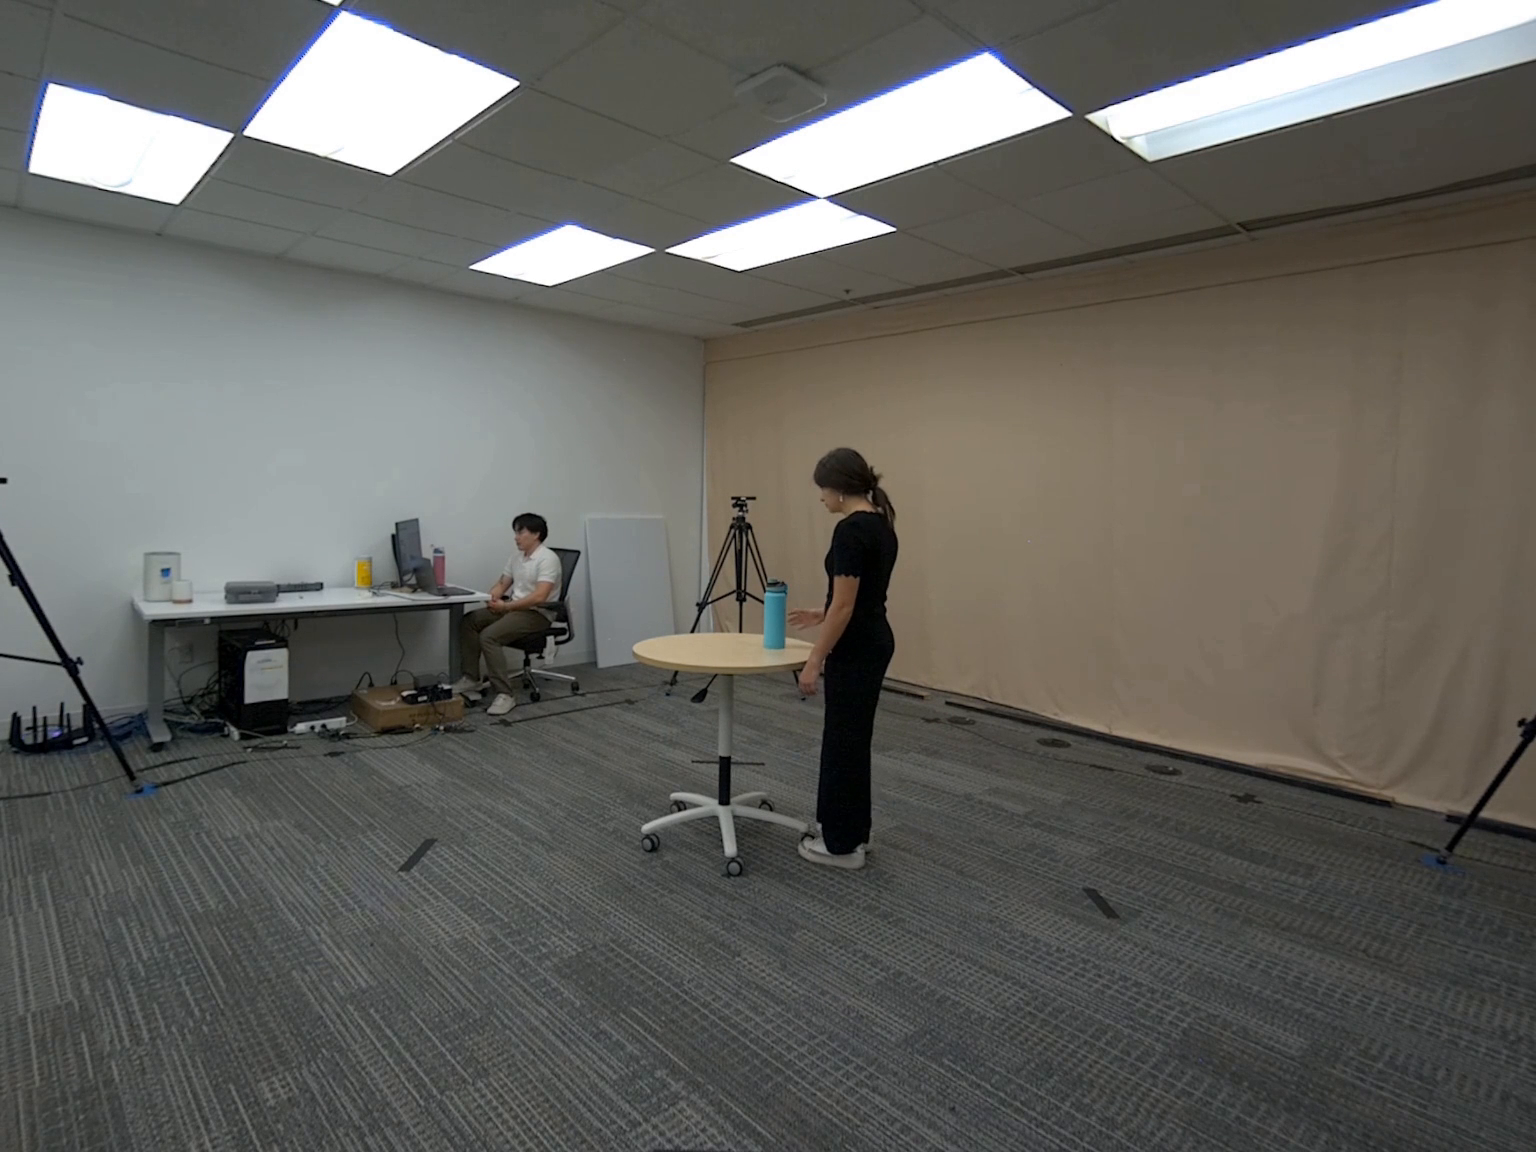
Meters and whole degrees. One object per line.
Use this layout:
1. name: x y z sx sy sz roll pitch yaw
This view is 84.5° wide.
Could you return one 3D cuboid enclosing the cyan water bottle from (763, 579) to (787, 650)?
1. cyan water bottle: 0.026 0.153 3.449 0.092 0.282 0.093 3 5 -2
